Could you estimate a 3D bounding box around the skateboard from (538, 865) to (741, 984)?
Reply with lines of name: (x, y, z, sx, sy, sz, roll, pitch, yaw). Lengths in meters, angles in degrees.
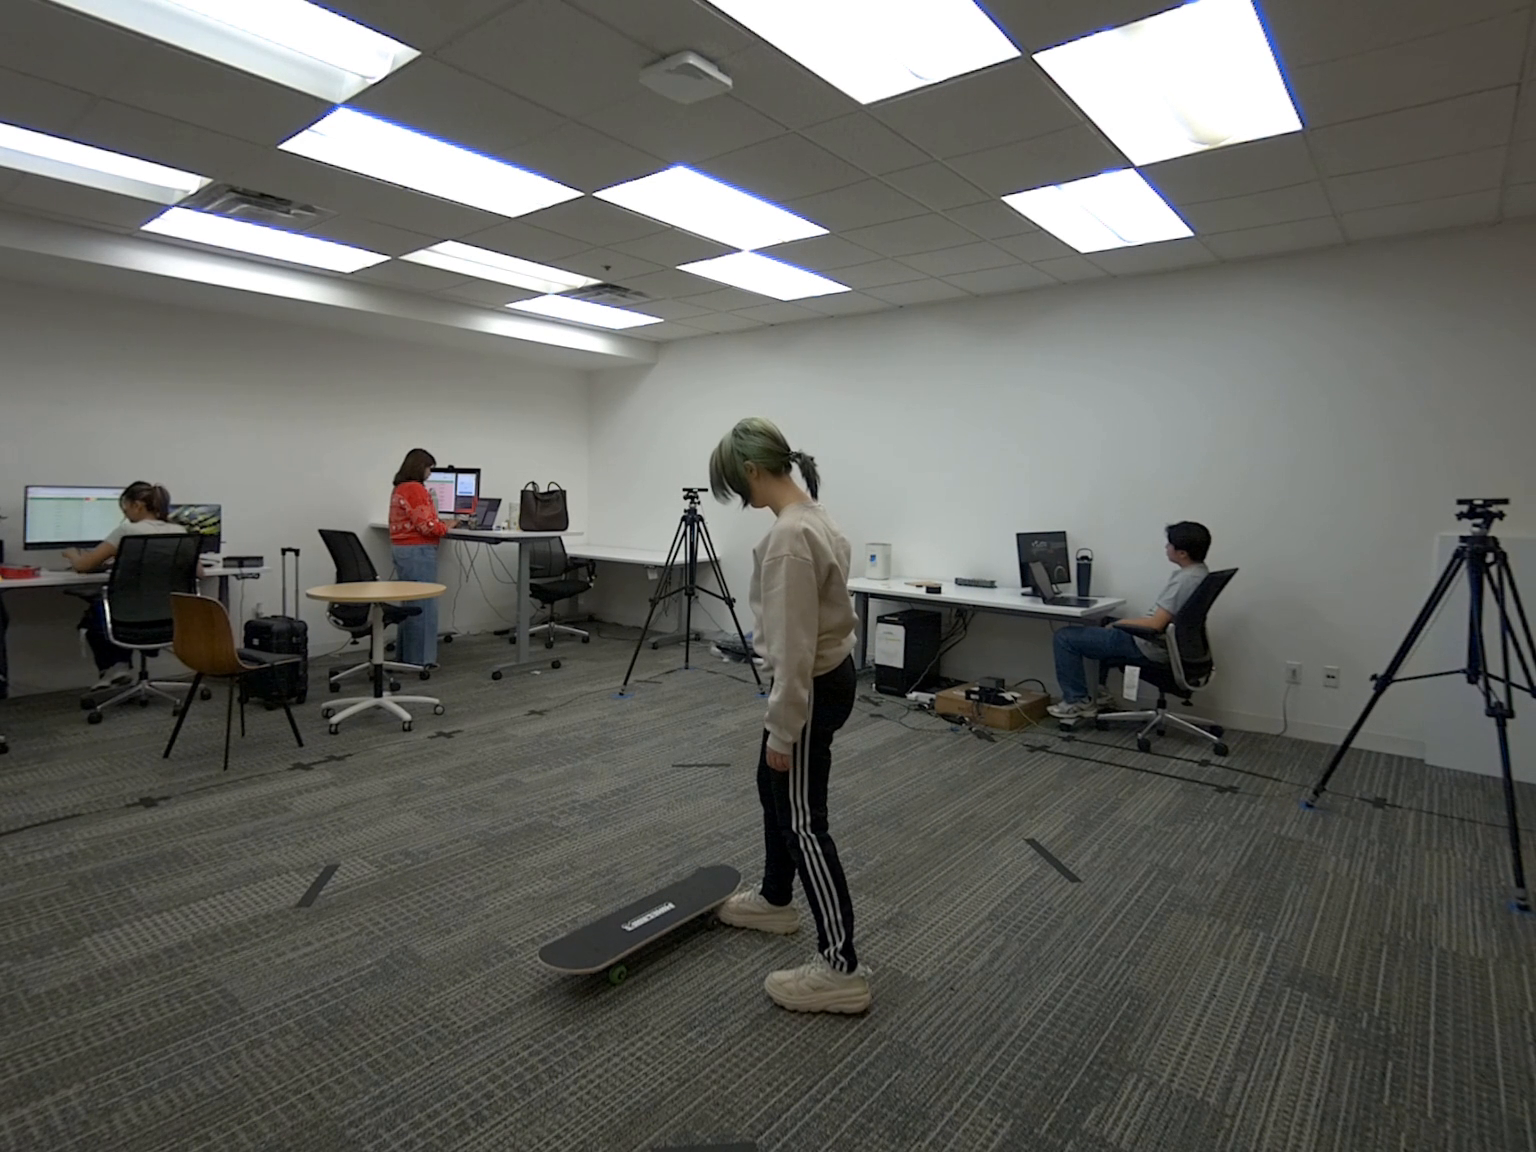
skateboard: (-0.371, 1.066, 2.578, 0.200, 0.110, 0.763, 4, 6, 39)
